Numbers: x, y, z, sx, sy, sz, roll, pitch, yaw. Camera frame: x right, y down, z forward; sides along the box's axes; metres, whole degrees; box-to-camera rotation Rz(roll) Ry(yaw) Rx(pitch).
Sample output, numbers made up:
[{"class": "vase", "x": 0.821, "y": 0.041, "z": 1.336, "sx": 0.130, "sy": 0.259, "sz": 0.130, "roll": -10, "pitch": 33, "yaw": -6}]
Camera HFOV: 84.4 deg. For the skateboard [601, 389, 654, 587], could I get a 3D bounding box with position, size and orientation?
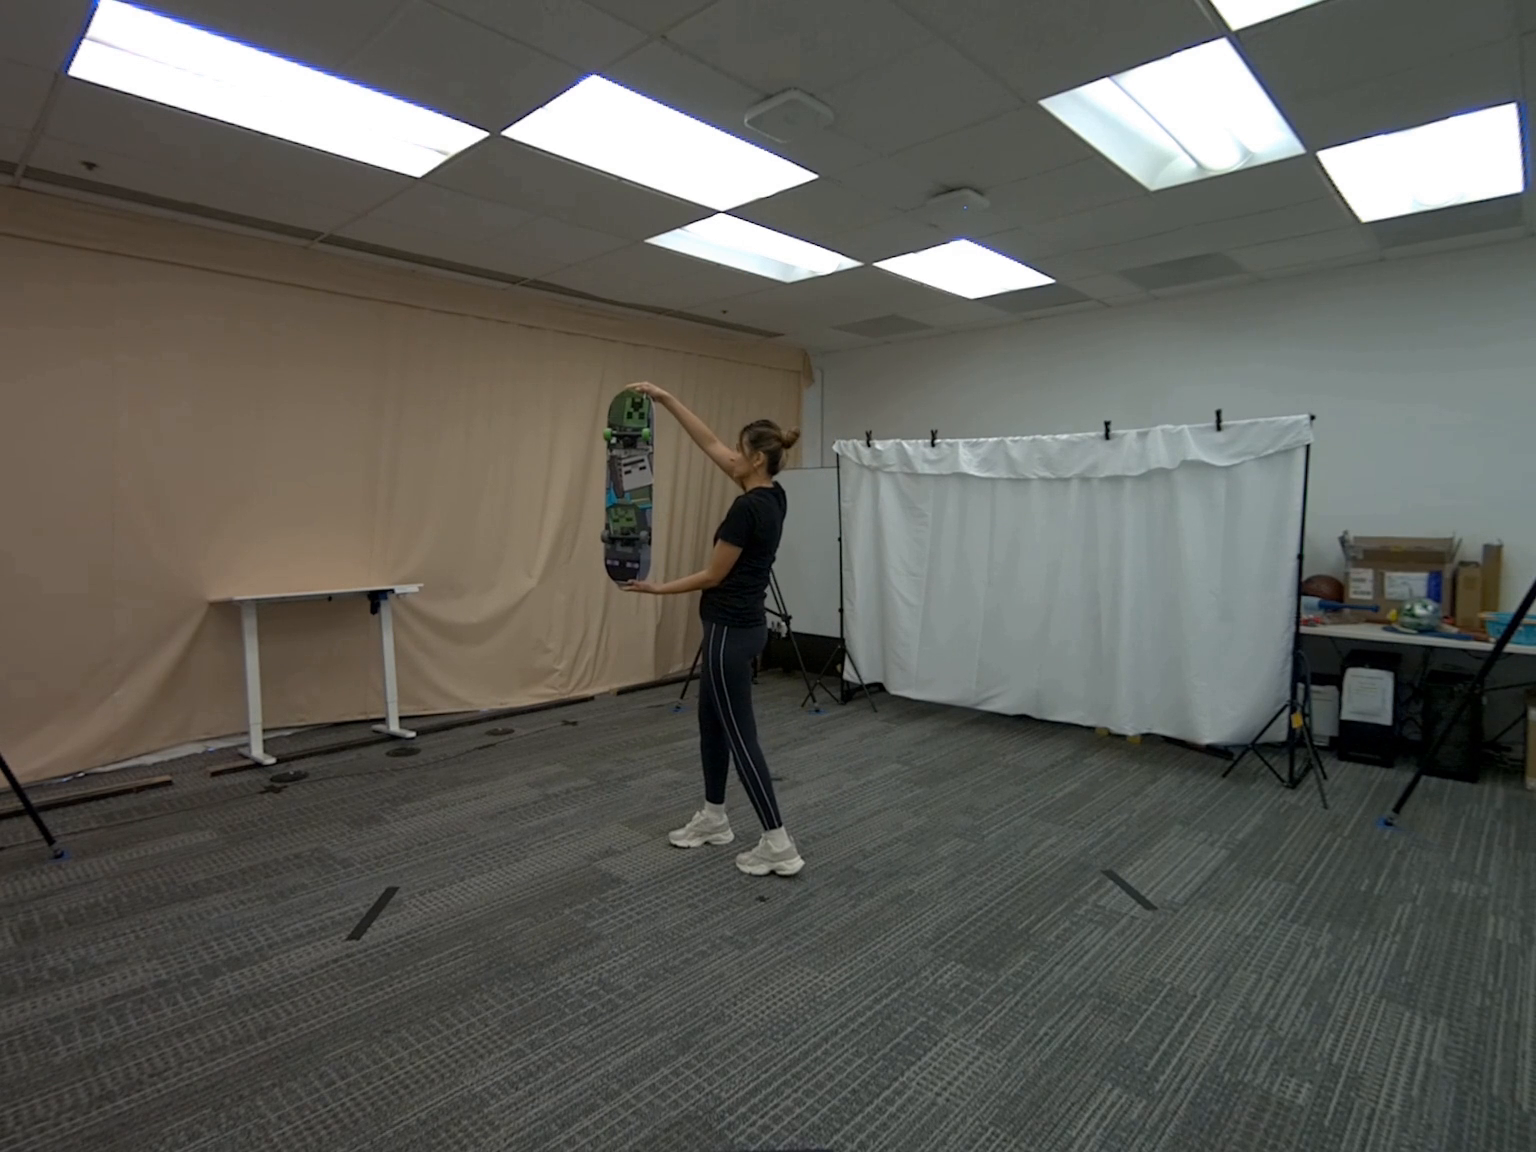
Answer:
[{"class": "skateboard", "x": -0.542, "y": -0.347, "z": 3.299, "sx": 0.195, "sy": 0.786, "sz": 0.109, "roll": 1, "pitch": -1, "yaw": 9}]
